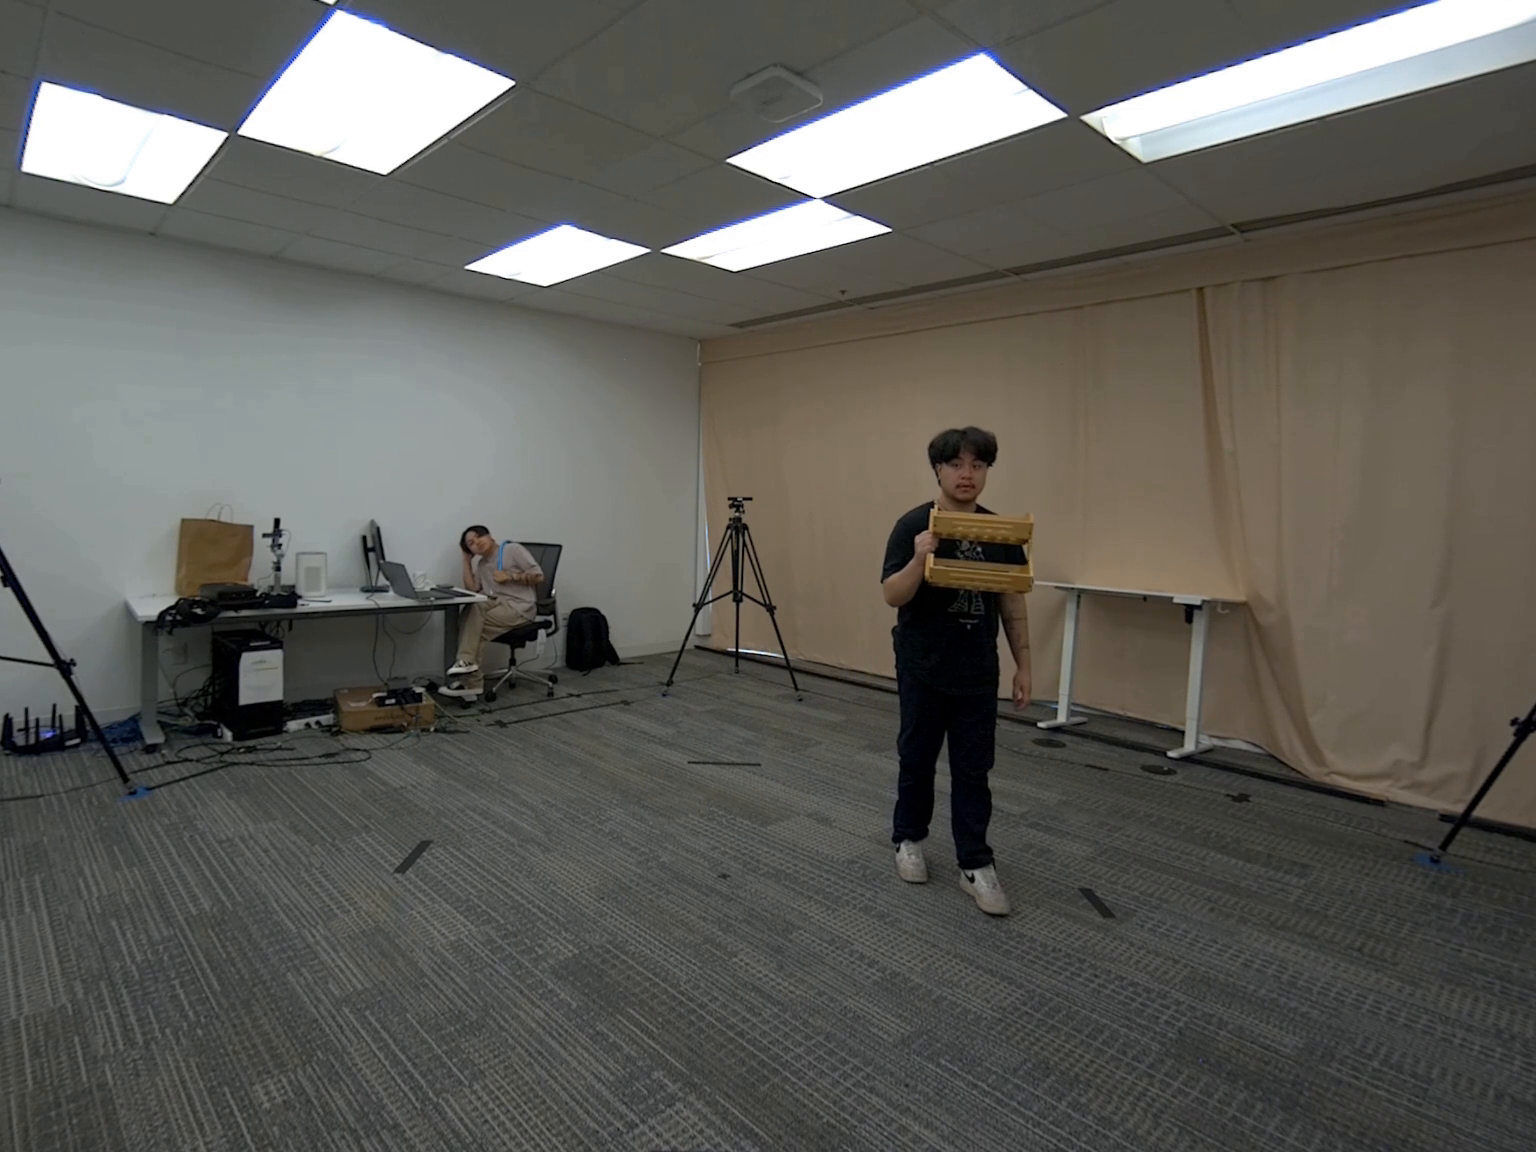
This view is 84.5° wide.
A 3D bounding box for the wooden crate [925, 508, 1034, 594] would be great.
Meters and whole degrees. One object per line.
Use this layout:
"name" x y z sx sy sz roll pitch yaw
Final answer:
"wooden crate" 0.683 -0.092 2.689 0.328 0.274 0.298 6 -4 12
